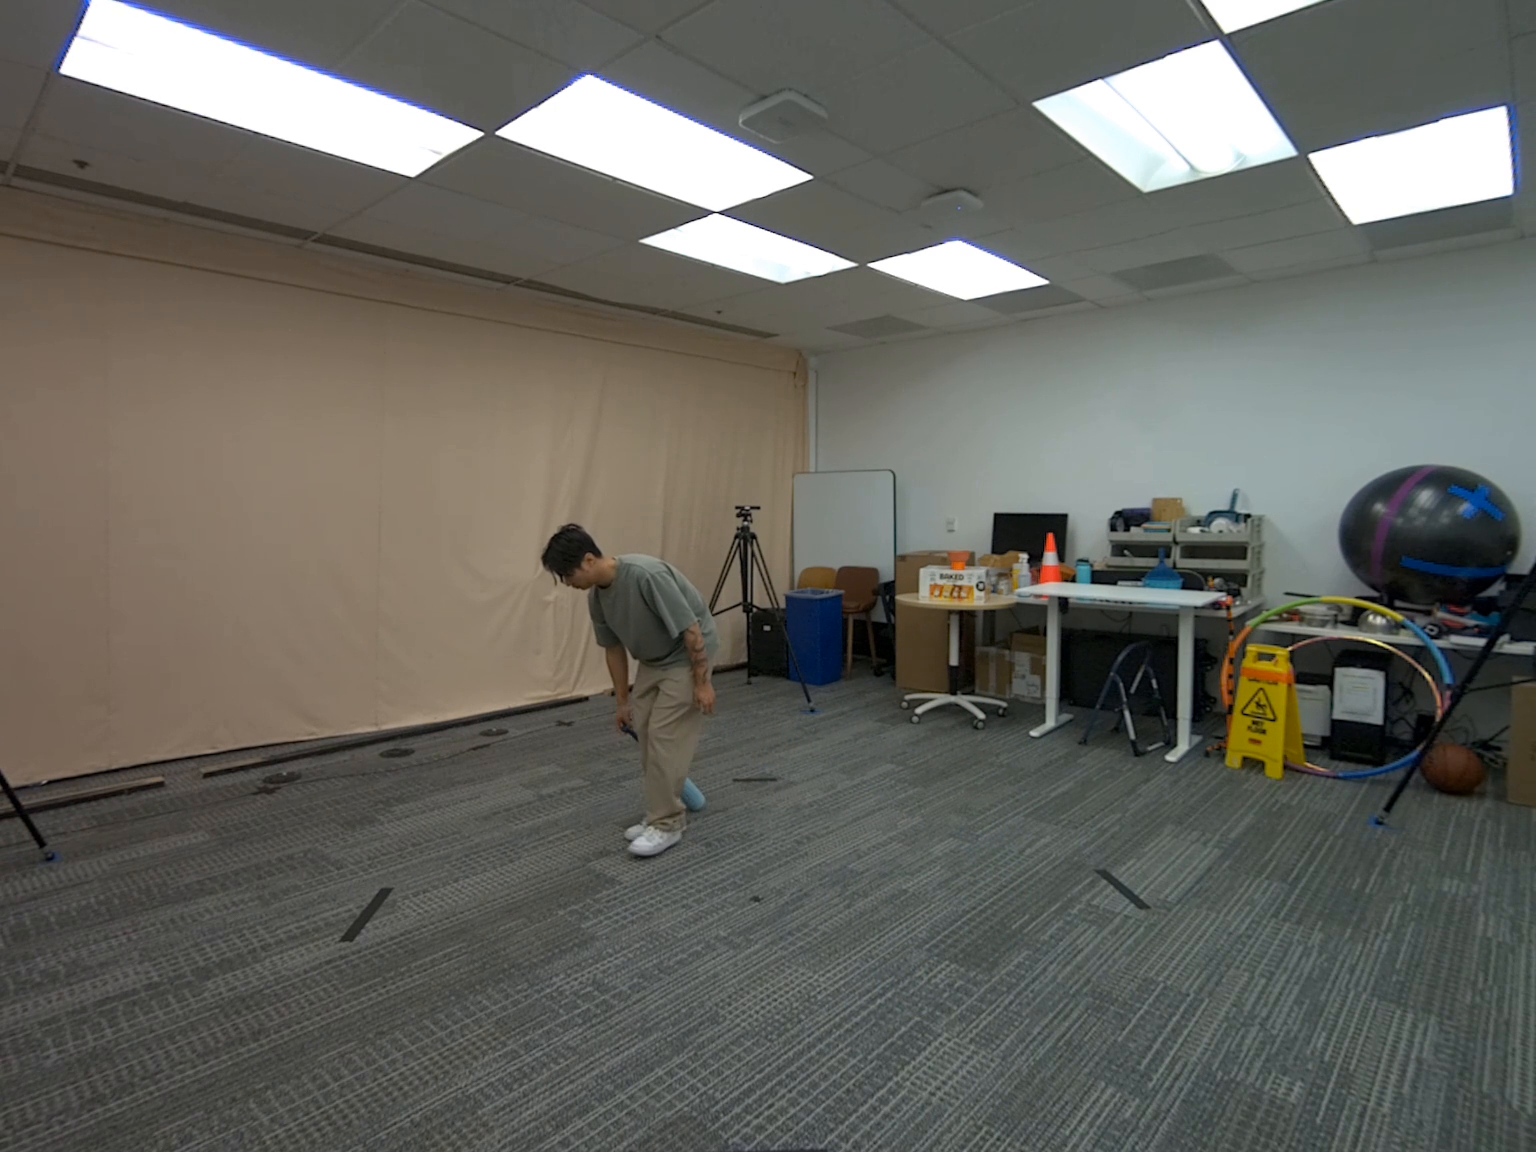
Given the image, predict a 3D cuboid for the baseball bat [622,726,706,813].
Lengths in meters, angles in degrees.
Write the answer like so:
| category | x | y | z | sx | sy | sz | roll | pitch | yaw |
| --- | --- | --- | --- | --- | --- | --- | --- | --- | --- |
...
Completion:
| category | x | y | z | sx | sy | sz | roll | pitch | yaw |
| --- | --- | --- | --- | --- | --- | --- | --- | --- | --- |
| baseball bat | -0.475 | 0.856 | 3.800 | 0.089 | 0.533 | 0.090 | -35 | 17 | 11 |
